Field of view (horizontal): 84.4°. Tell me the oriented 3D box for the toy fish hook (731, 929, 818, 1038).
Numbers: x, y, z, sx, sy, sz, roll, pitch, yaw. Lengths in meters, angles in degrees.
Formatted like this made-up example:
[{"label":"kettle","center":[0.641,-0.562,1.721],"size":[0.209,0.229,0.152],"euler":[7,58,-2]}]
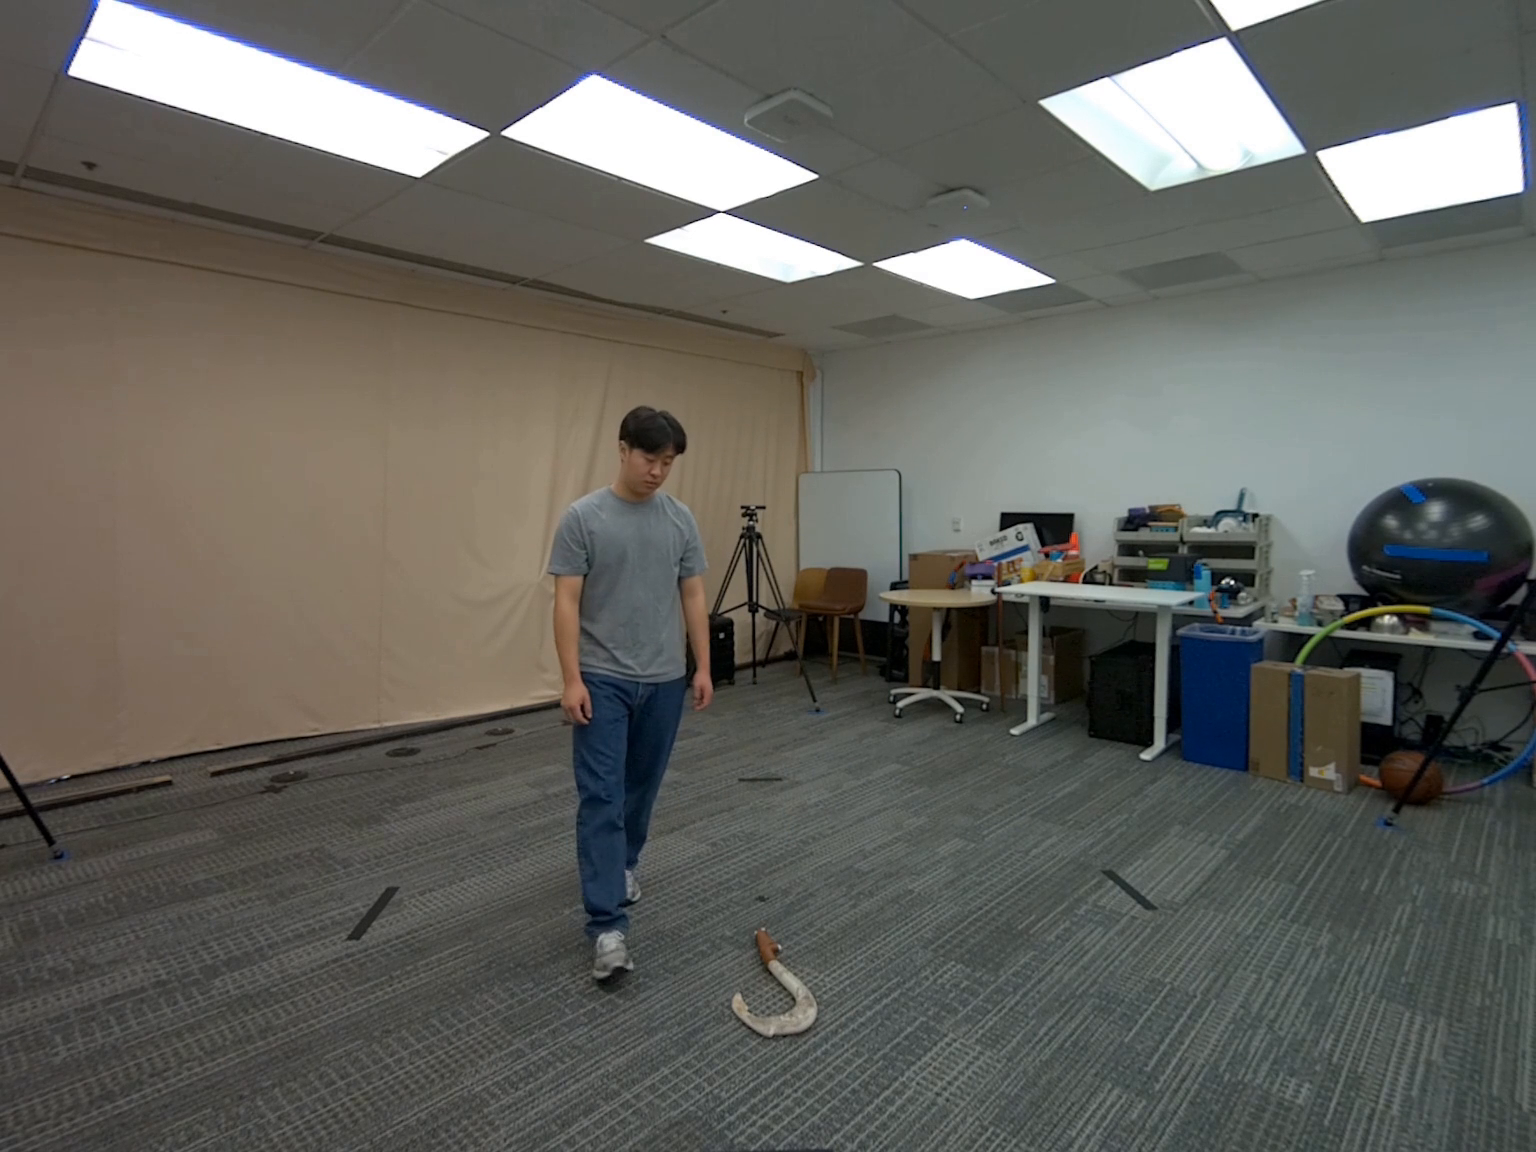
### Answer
[{"label":"toy fish hook","center":[-0.011,1.163,2.445],"size":[0.222,0.048,0.514],"euler":[0,4,-13]}]
